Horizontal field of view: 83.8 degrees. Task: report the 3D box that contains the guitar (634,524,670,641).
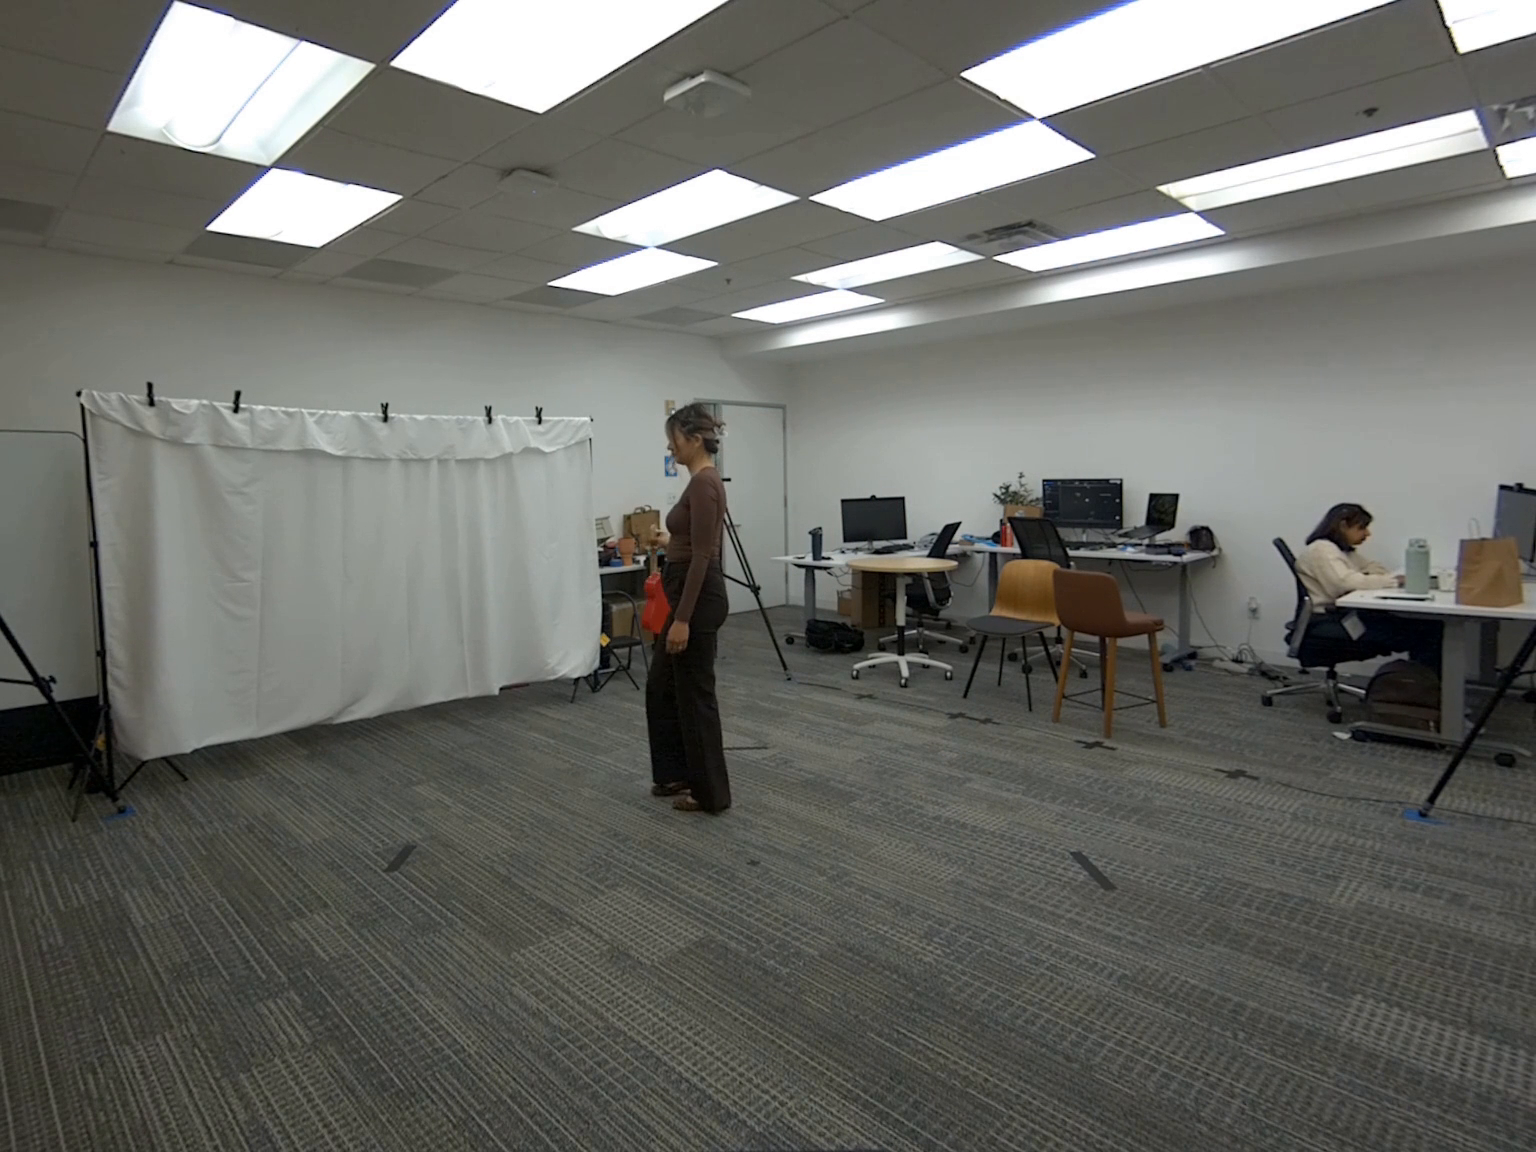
[{"bbox_3d":[-0.525,0.025,3.980,0.072,0.490,0.191,6,17,23],"label":"guitar"}]
